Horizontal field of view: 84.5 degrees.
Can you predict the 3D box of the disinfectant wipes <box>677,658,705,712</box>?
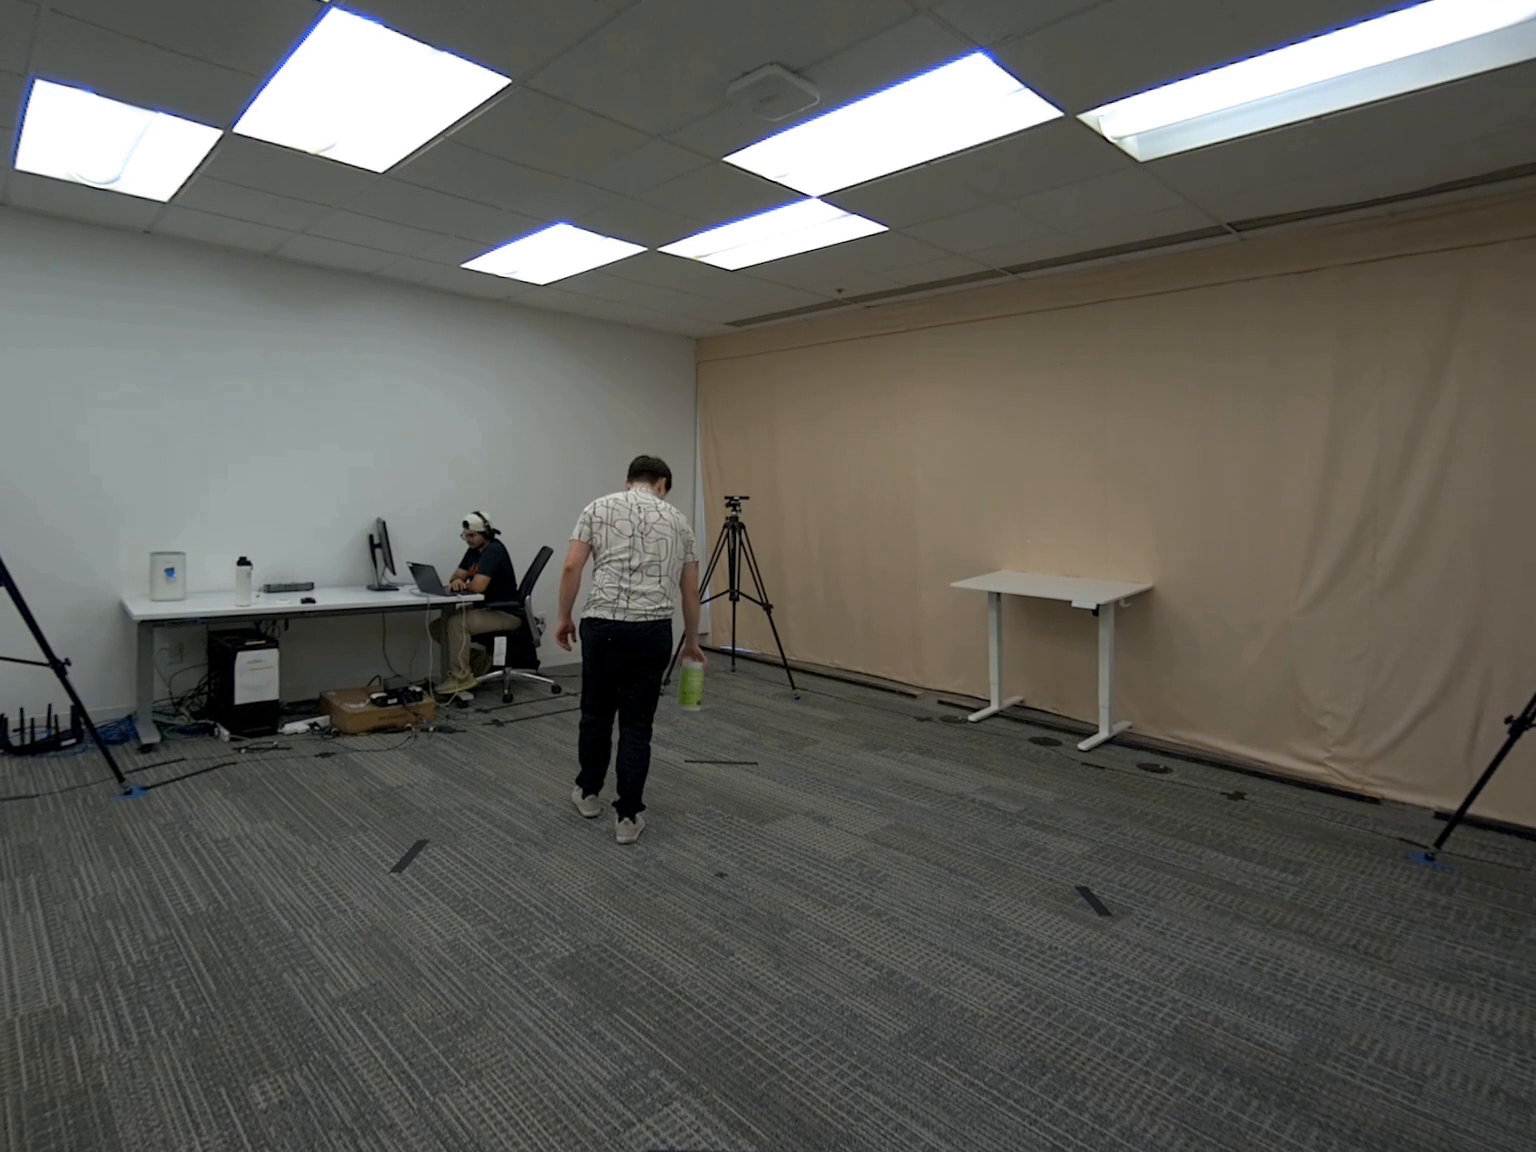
[{"bbox_3d":[-0.356,0.485,3.712,0.118,0.217,0.118,6,1,-2],"label":"disinfectant wipes"}]
